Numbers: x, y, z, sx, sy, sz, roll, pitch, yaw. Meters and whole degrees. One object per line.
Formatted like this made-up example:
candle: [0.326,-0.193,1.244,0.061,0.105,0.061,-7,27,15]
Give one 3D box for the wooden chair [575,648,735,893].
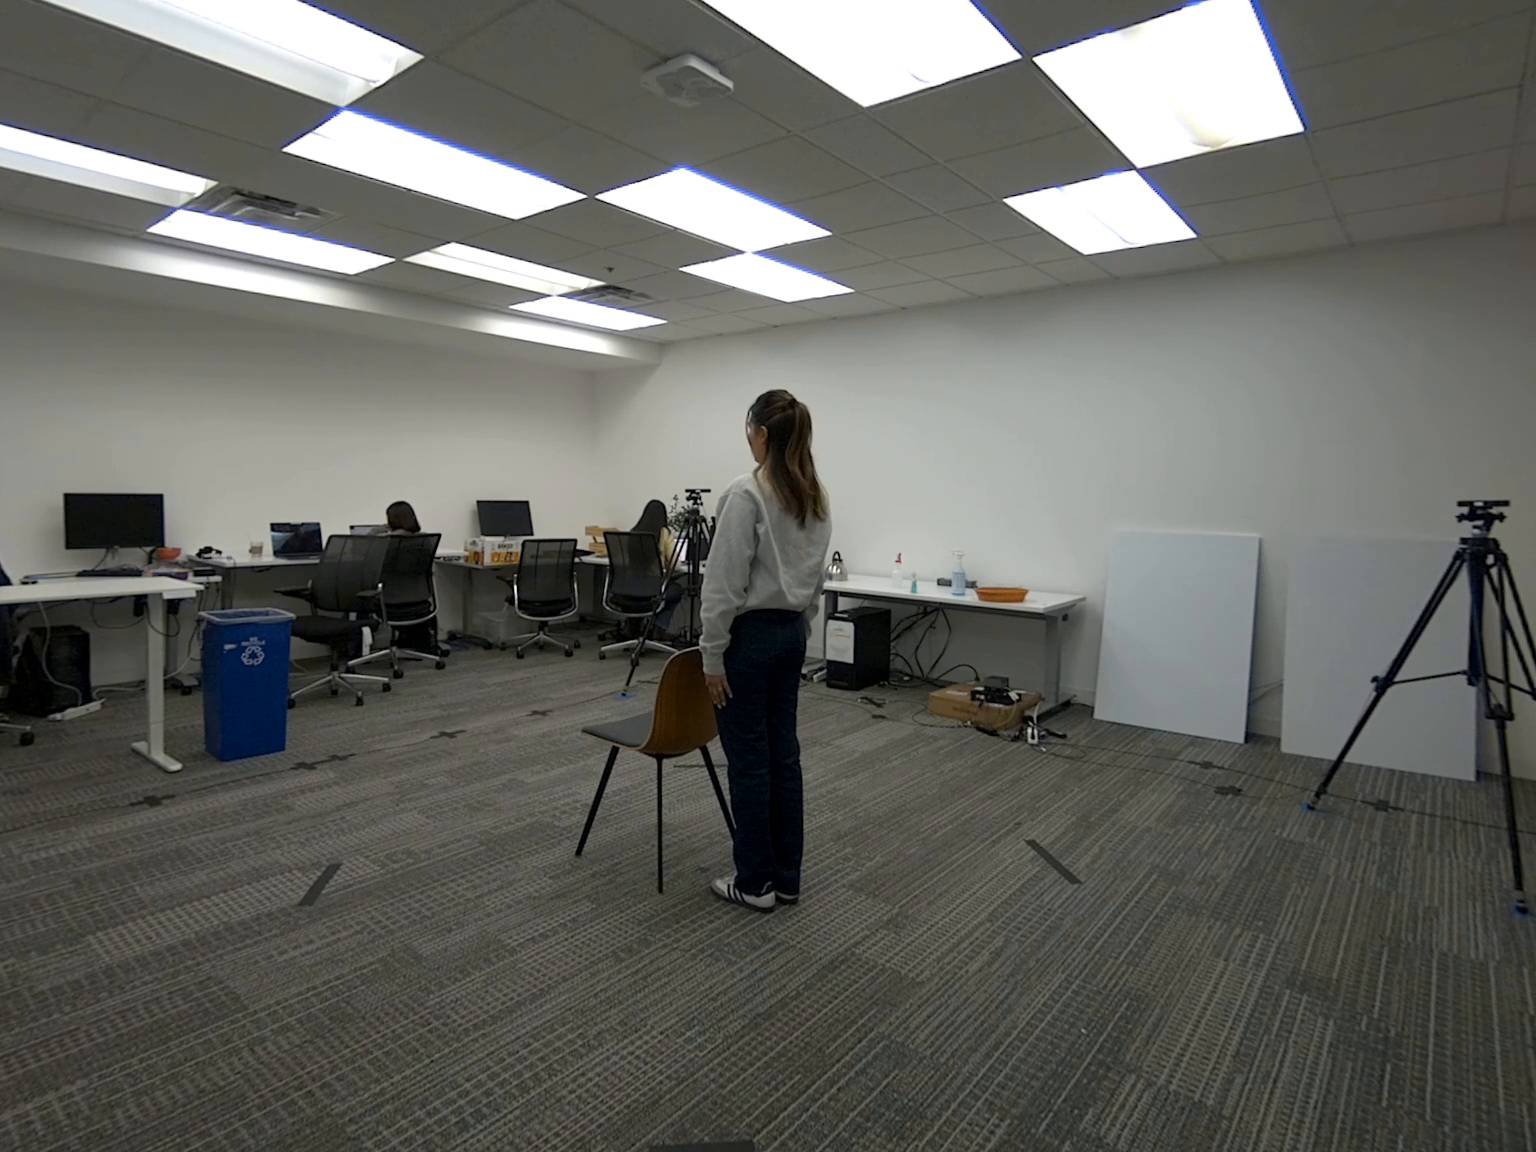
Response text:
wooden chair: [-0.423,0.635,3.210,0.542,0.873,0.464,9,7,38]
